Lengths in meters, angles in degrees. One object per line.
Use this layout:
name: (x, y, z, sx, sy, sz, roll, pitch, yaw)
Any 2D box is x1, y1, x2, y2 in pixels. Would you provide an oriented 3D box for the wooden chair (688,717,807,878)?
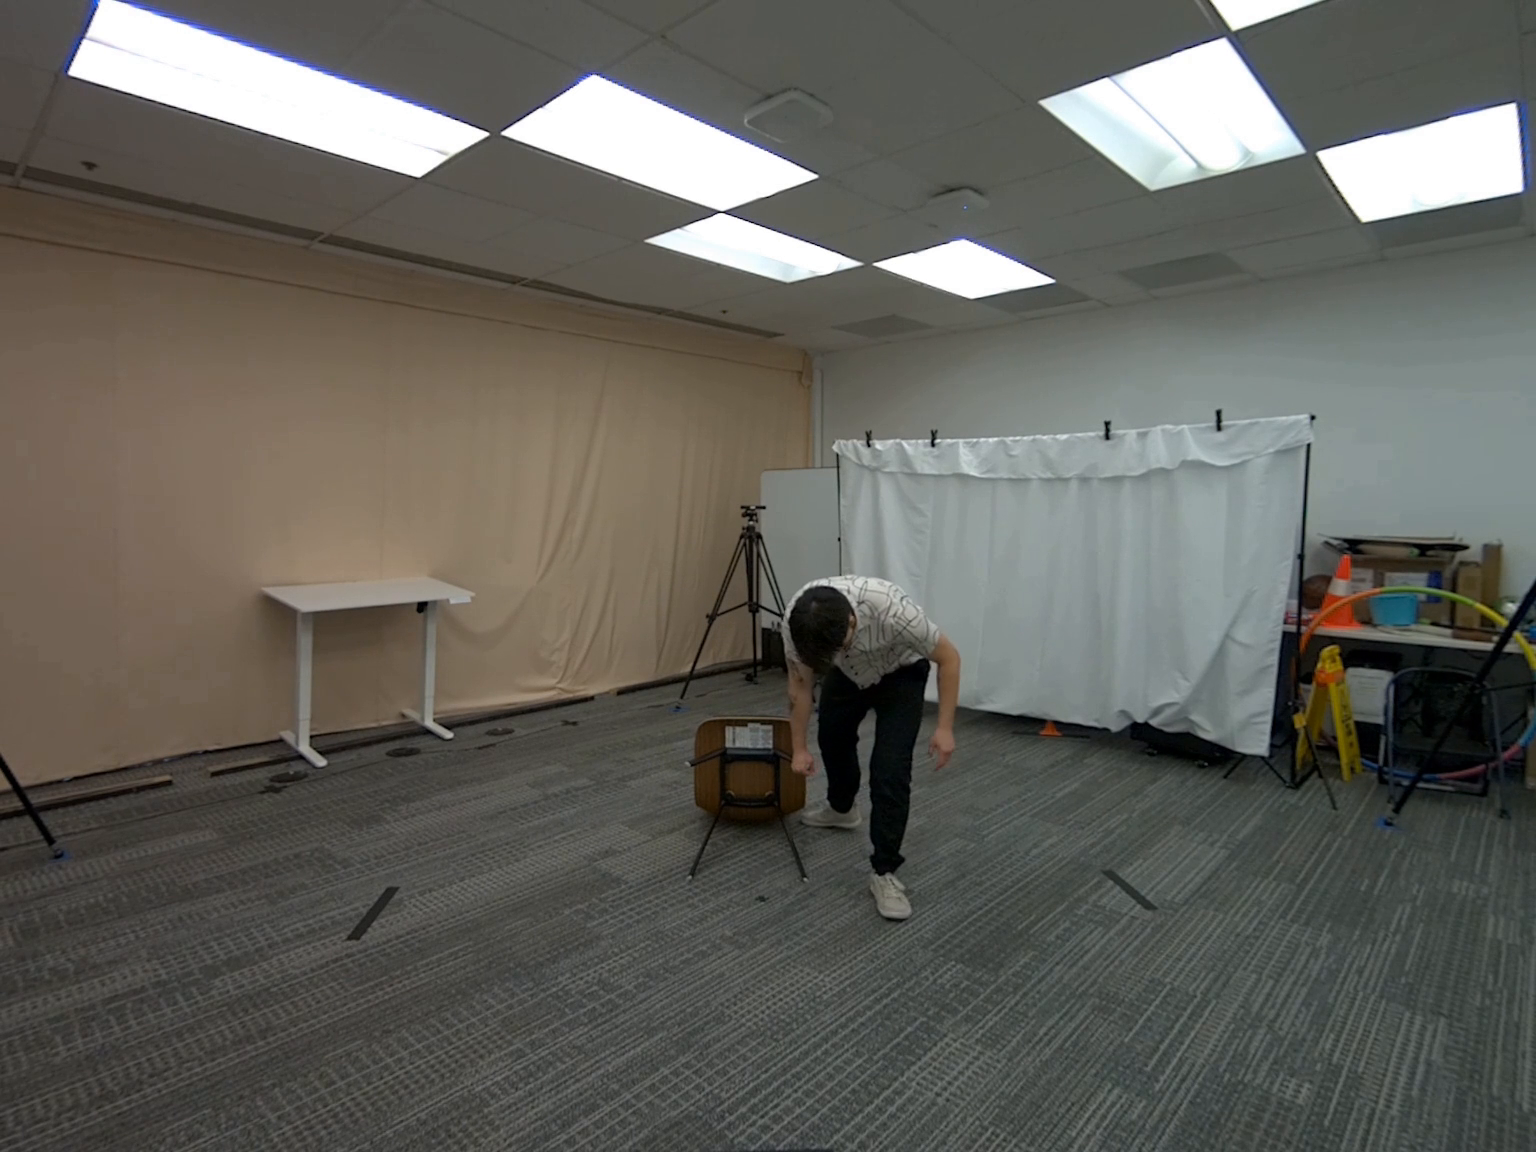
wooden chair: (-0.079, 0.843, 3.521, 0.479, 0.522, 0.876, -1, 2, 1)
